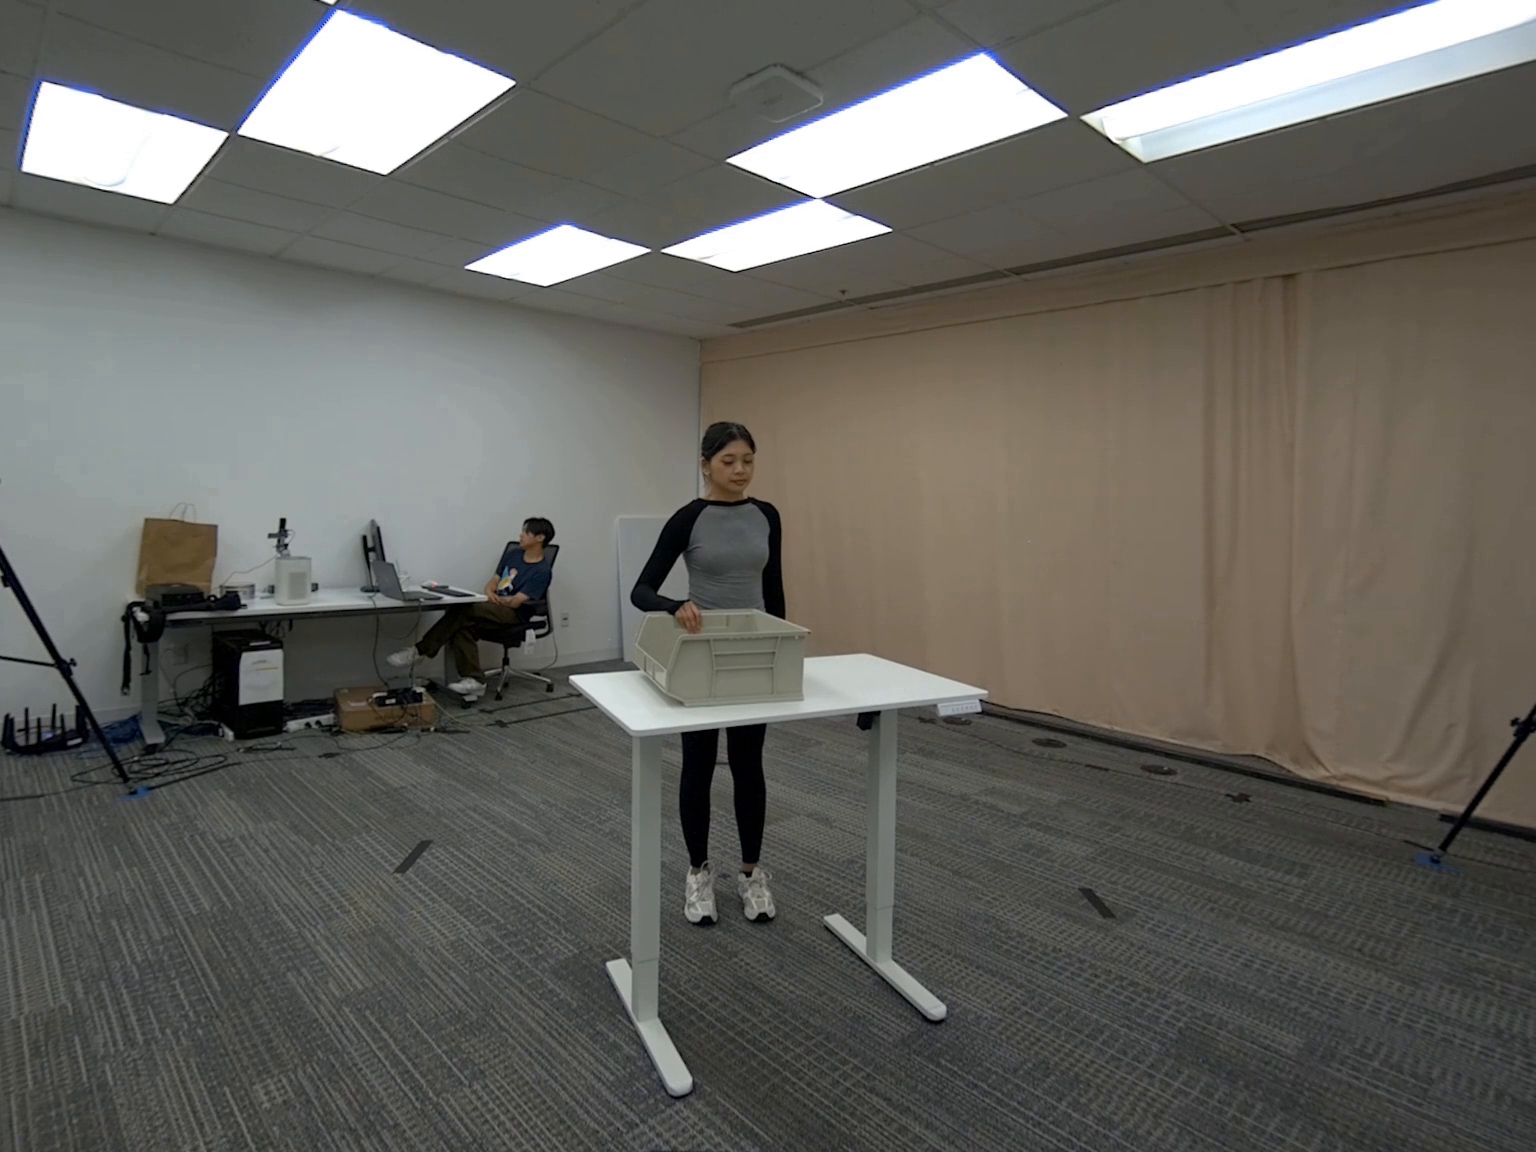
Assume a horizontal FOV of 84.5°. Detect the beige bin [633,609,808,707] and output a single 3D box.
[{"bbox_3d":[-0.153,0.213,2.275,0.372,0.188,0.429,2,4,-19],"label":"beige bin"}]
